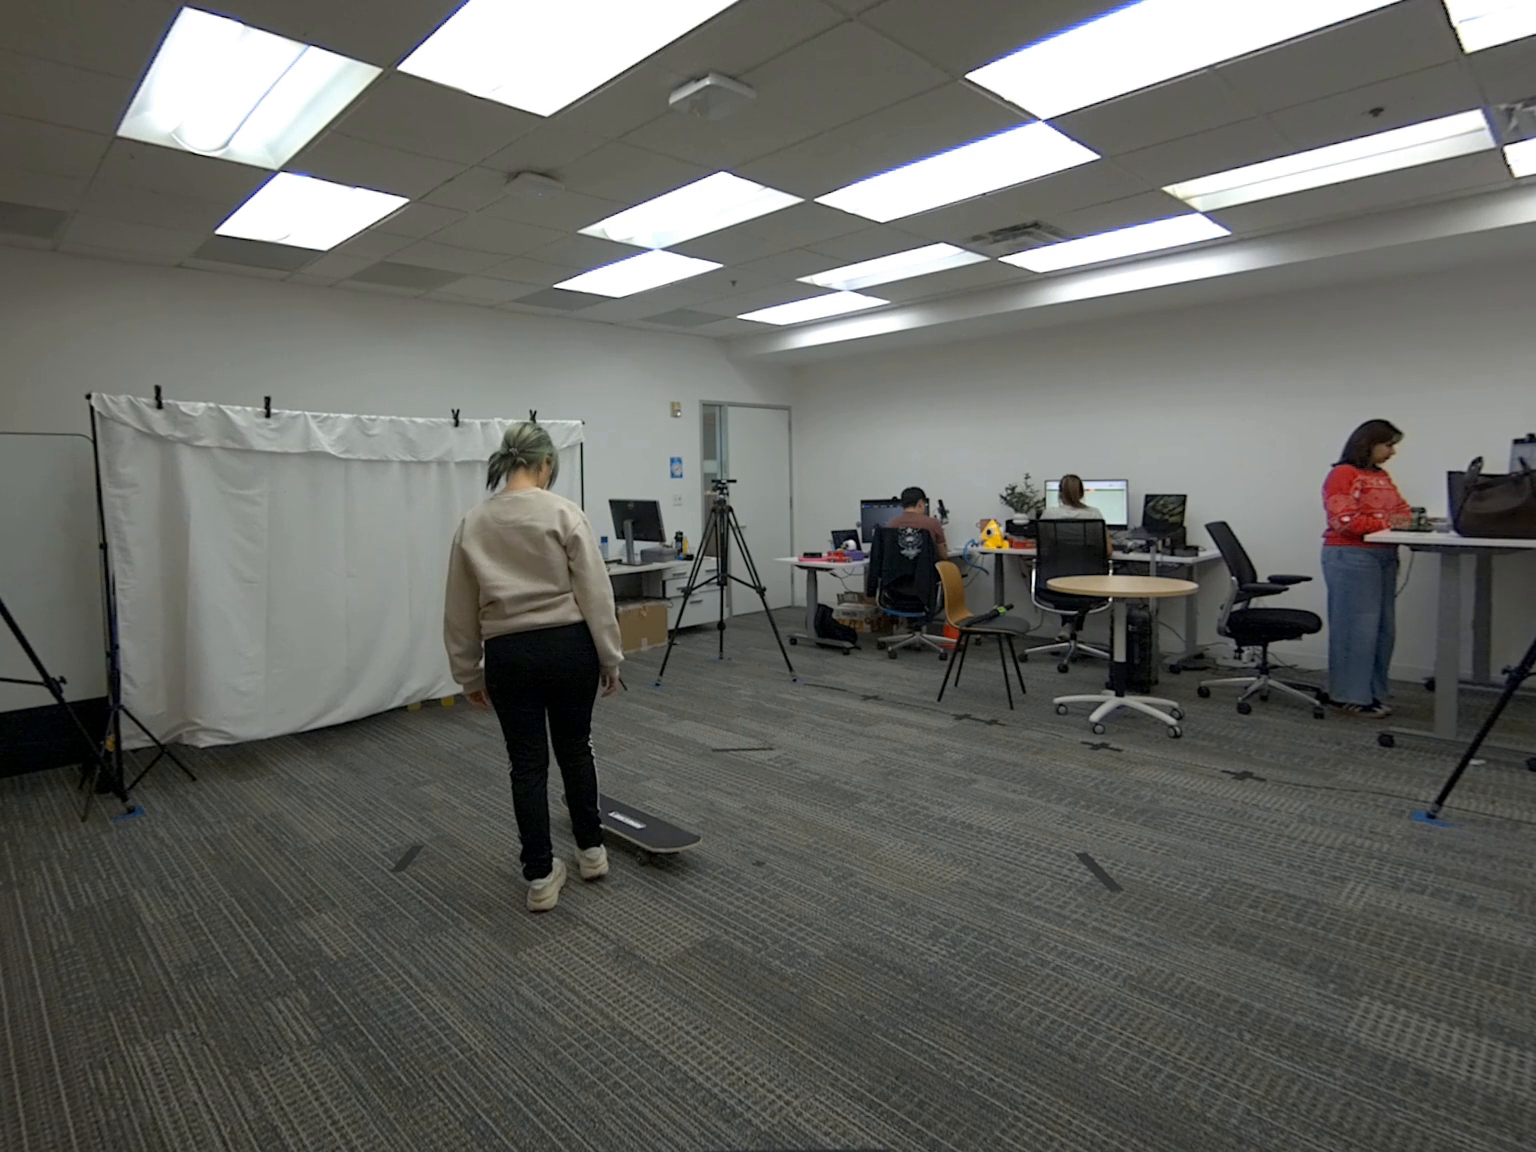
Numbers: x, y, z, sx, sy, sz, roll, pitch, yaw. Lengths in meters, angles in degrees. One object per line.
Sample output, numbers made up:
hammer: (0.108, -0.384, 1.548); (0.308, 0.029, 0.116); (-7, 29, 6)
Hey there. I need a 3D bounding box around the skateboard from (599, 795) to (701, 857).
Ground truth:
skateboard: (-0.542, 0.979, 3.311); (0.188, 0.110, 0.810); (-6, 7, -44)
